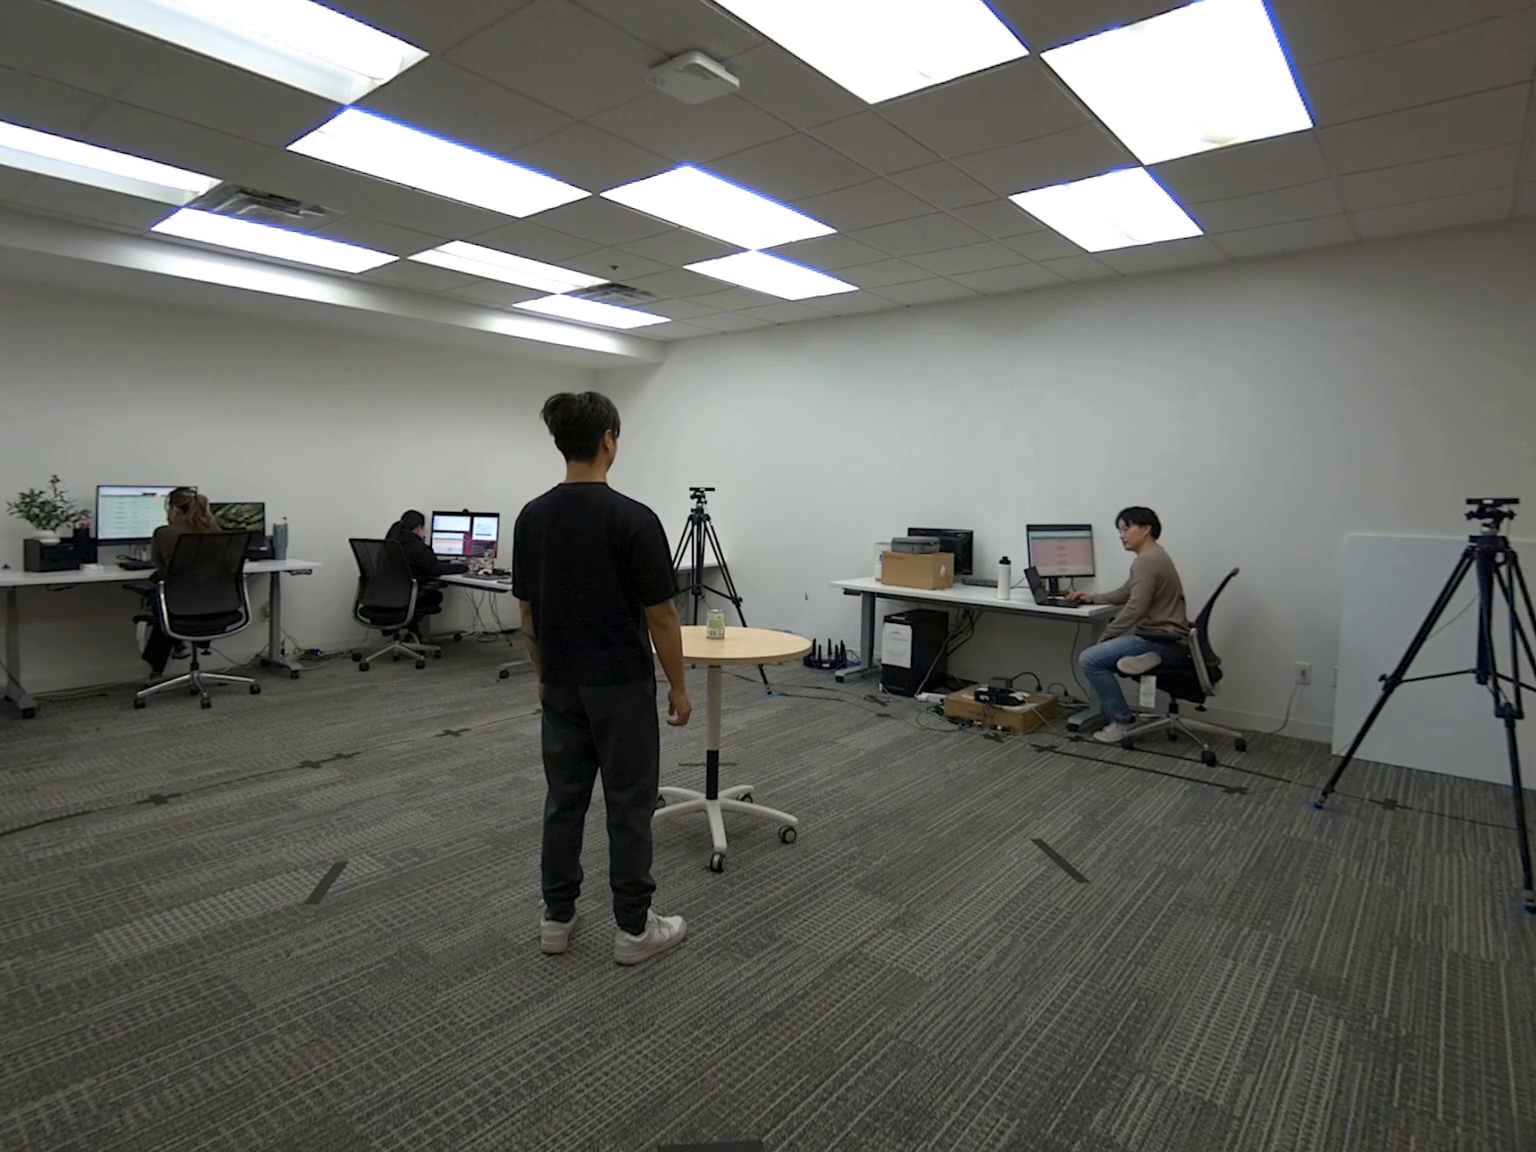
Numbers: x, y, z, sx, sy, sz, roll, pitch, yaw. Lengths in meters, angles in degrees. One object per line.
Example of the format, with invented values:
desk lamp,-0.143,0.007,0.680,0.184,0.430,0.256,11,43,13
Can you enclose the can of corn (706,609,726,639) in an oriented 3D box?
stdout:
can of corn,-0.225,0.195,3.474,0.074,0.111,0.074,3,-1,-2
